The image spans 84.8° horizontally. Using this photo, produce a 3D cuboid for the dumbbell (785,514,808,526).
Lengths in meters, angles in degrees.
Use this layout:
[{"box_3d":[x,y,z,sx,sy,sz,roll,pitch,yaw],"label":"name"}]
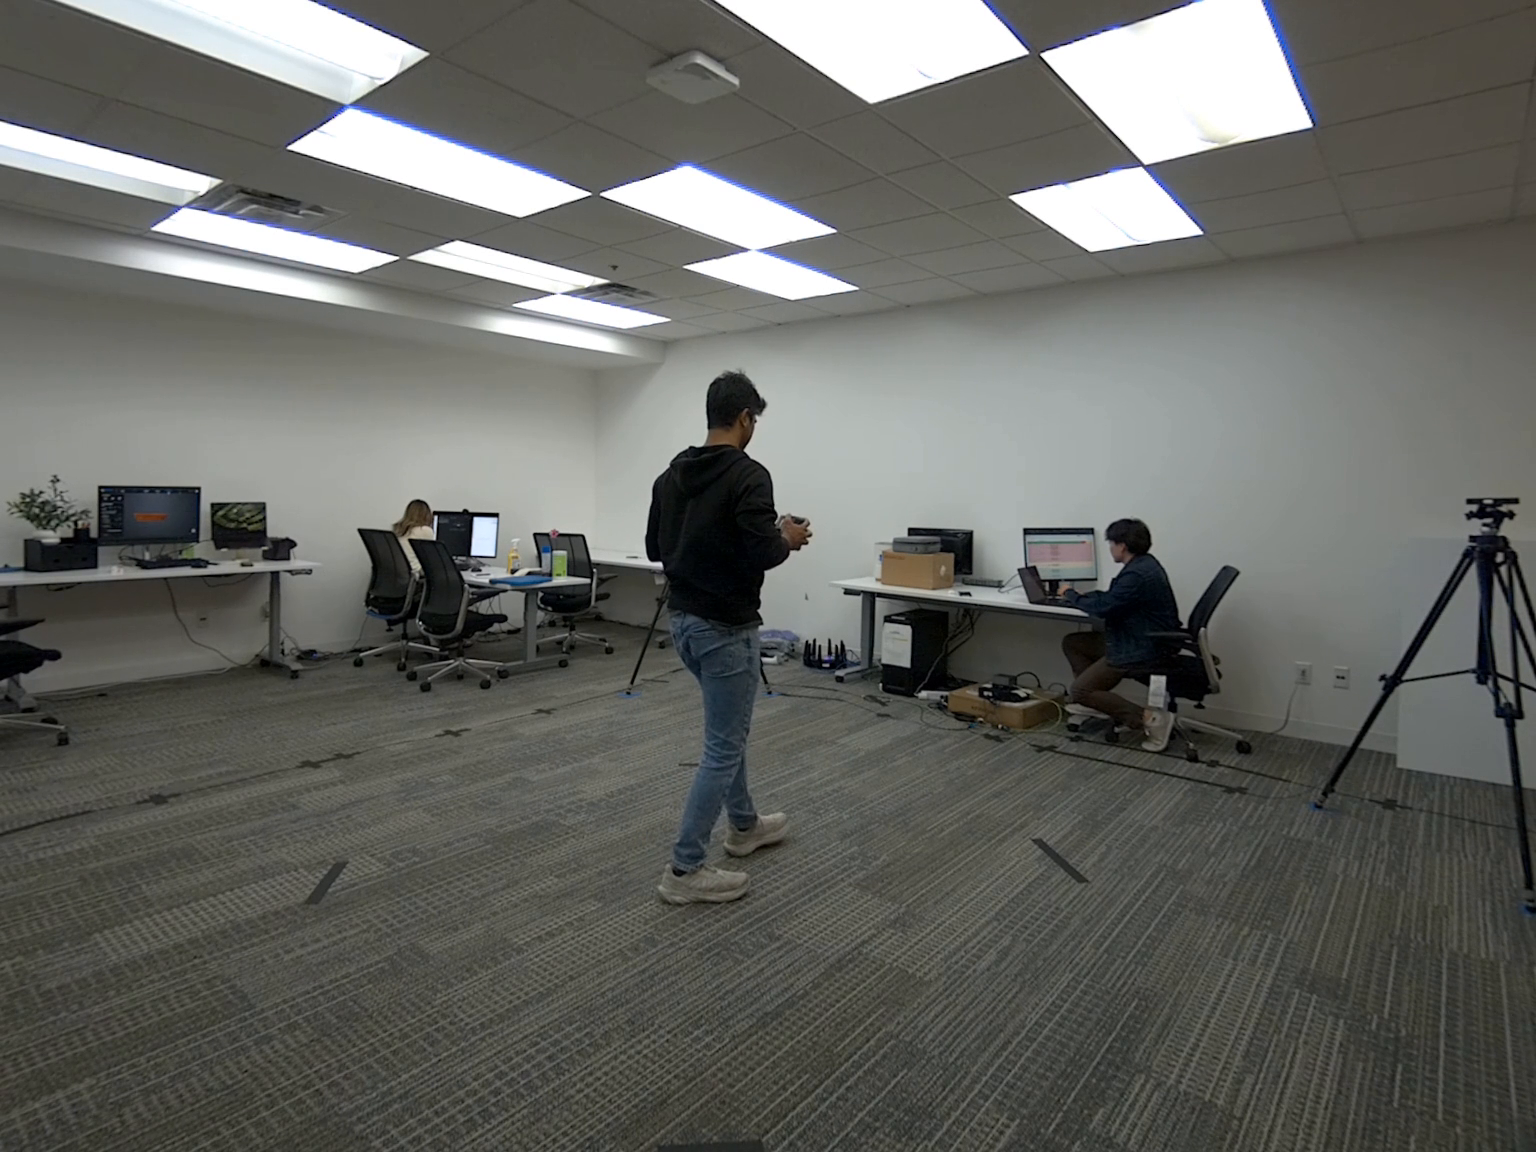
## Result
[{"box_3d":[-0.014,-0.161,3.176,0.304,0.123,0.104,7,-34,46],"label":"dumbbell"}]
